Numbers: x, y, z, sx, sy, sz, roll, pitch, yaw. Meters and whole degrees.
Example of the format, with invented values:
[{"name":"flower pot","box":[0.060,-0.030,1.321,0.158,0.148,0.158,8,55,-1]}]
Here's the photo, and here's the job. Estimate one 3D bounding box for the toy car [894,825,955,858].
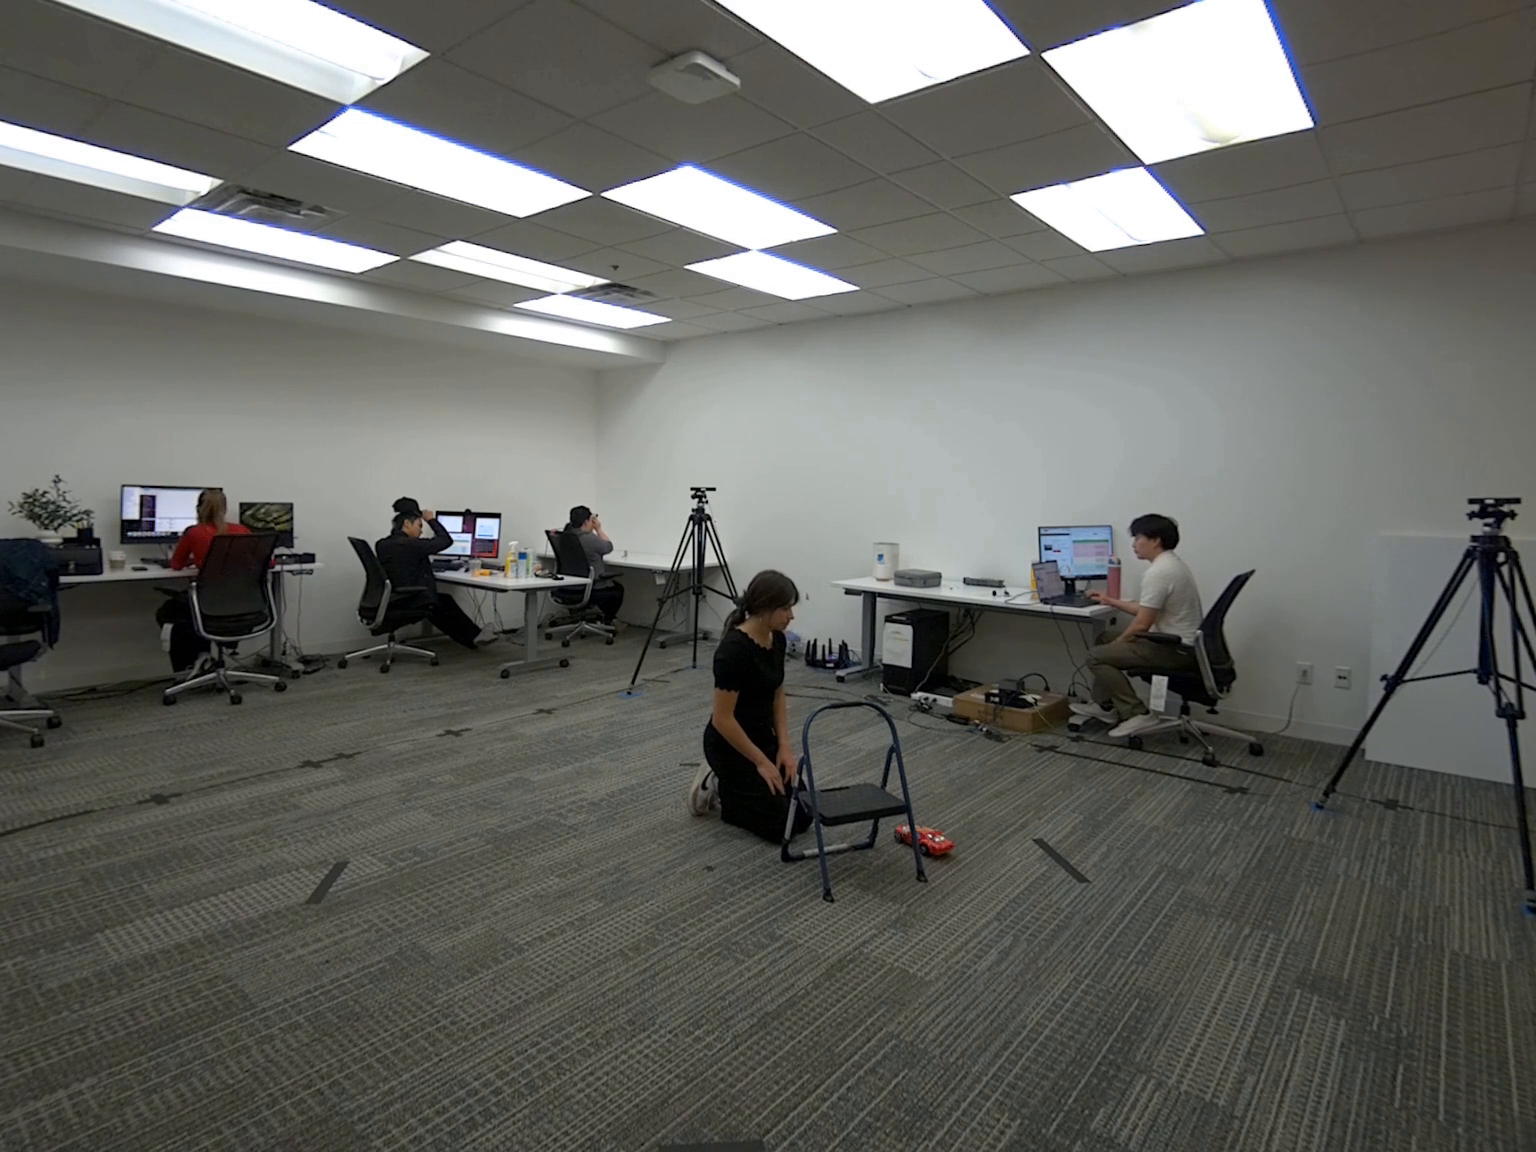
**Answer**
[{"name":"toy car","box":[0.613,1.035,3.336,0.127,0.084,0.260,-1,-5,-32]}]
